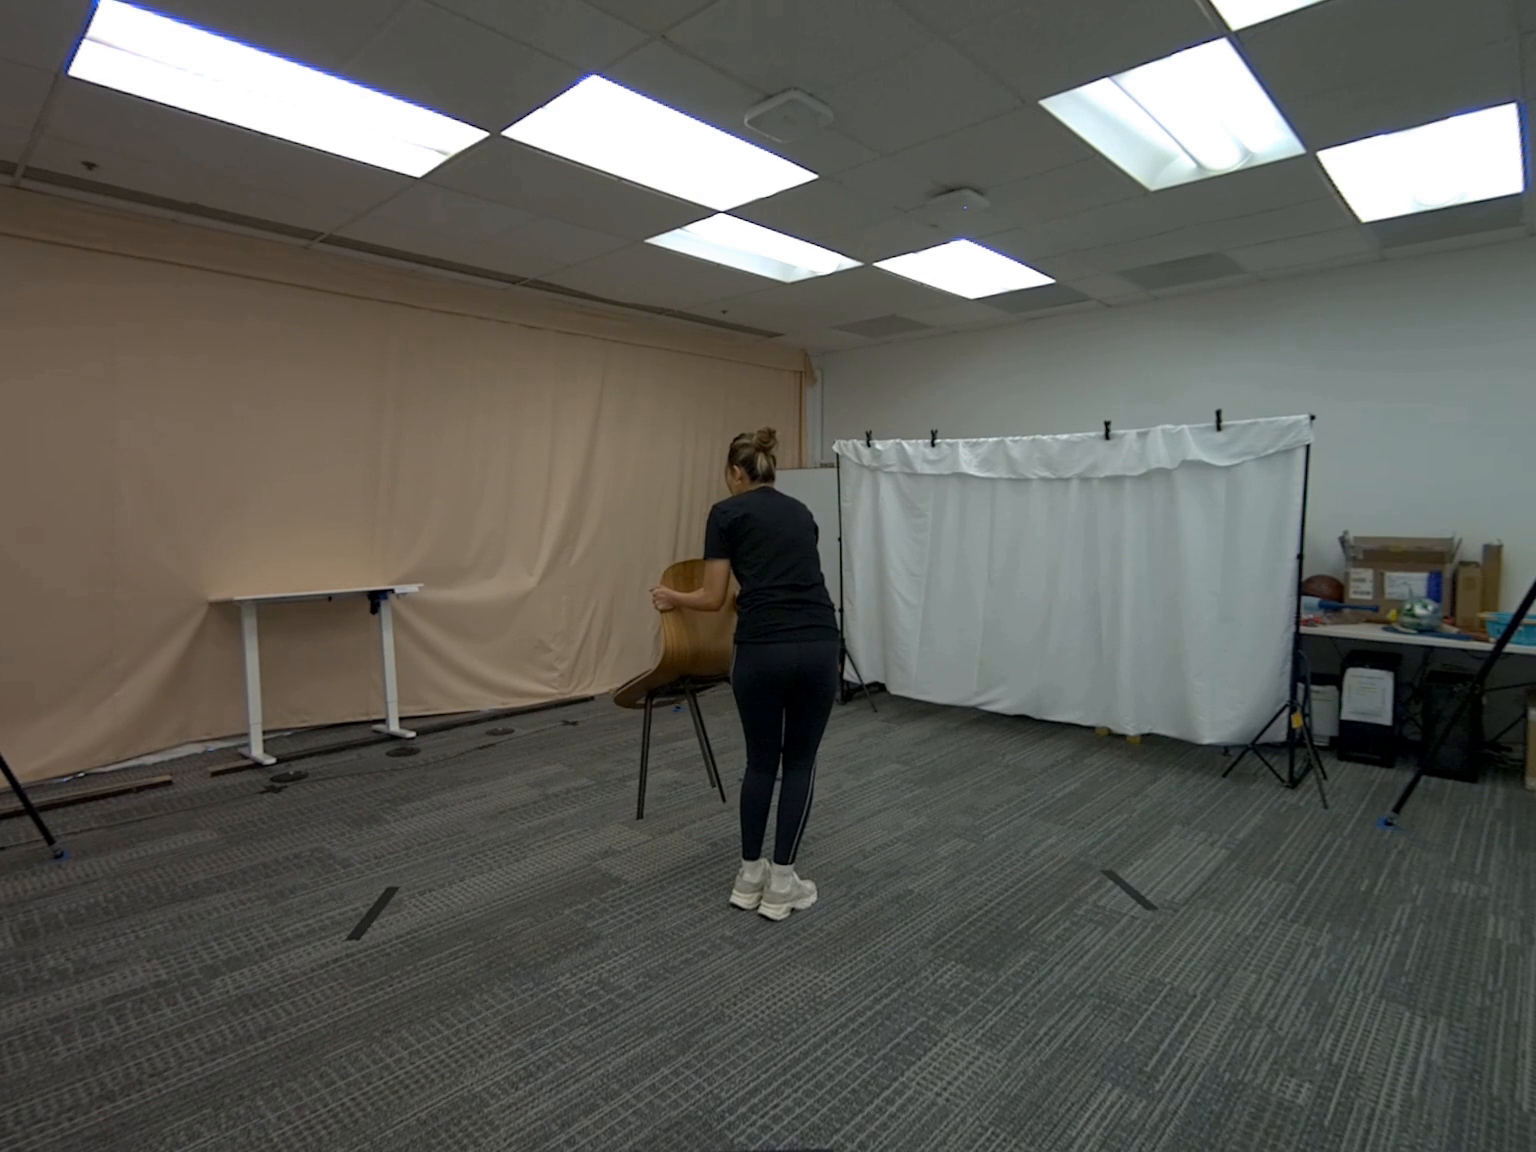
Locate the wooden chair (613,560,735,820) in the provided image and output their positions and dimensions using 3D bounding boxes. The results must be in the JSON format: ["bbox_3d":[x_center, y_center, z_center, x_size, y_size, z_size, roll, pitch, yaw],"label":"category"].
[{"bbox_3d":[-0.307,0.434,3.274,0.462,0.890,0.533,3,-23,-45],"label":"wooden chair"}]
